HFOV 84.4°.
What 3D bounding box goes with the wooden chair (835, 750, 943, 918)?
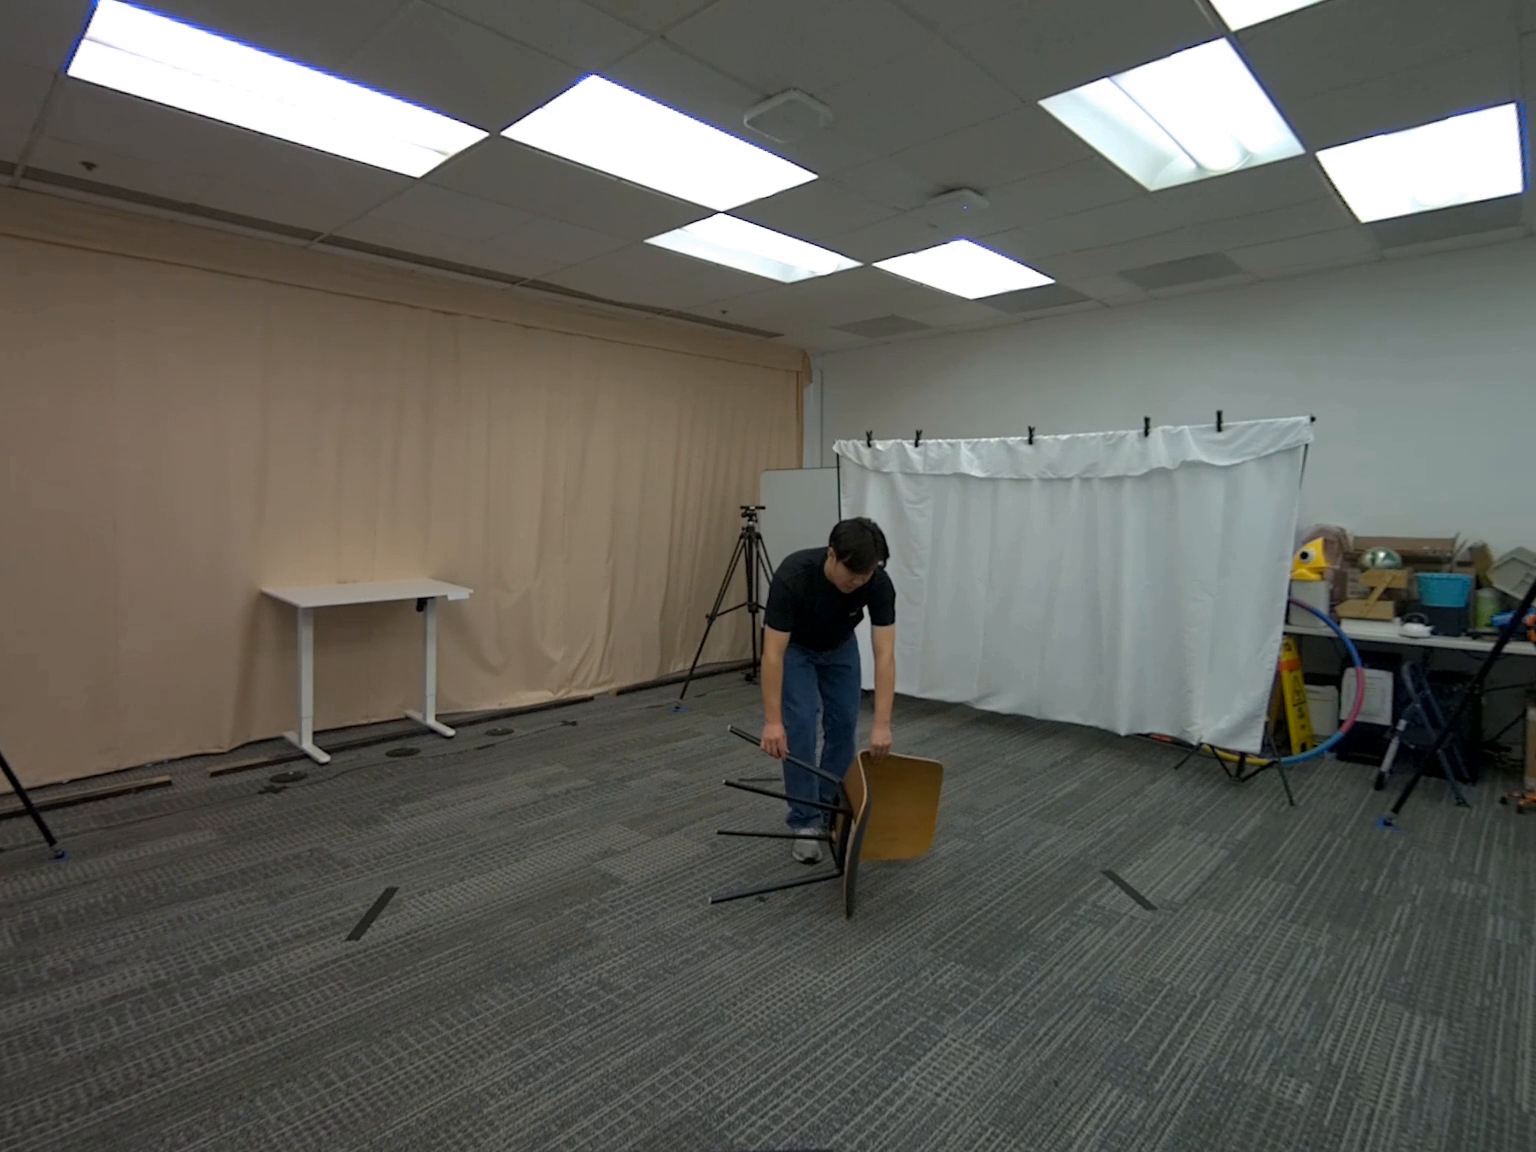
[{"bbox_3d":[0.262,0.890,2.999,0.875,0.475,0.528,7,13,-3],"label":"wooden chair"}]
